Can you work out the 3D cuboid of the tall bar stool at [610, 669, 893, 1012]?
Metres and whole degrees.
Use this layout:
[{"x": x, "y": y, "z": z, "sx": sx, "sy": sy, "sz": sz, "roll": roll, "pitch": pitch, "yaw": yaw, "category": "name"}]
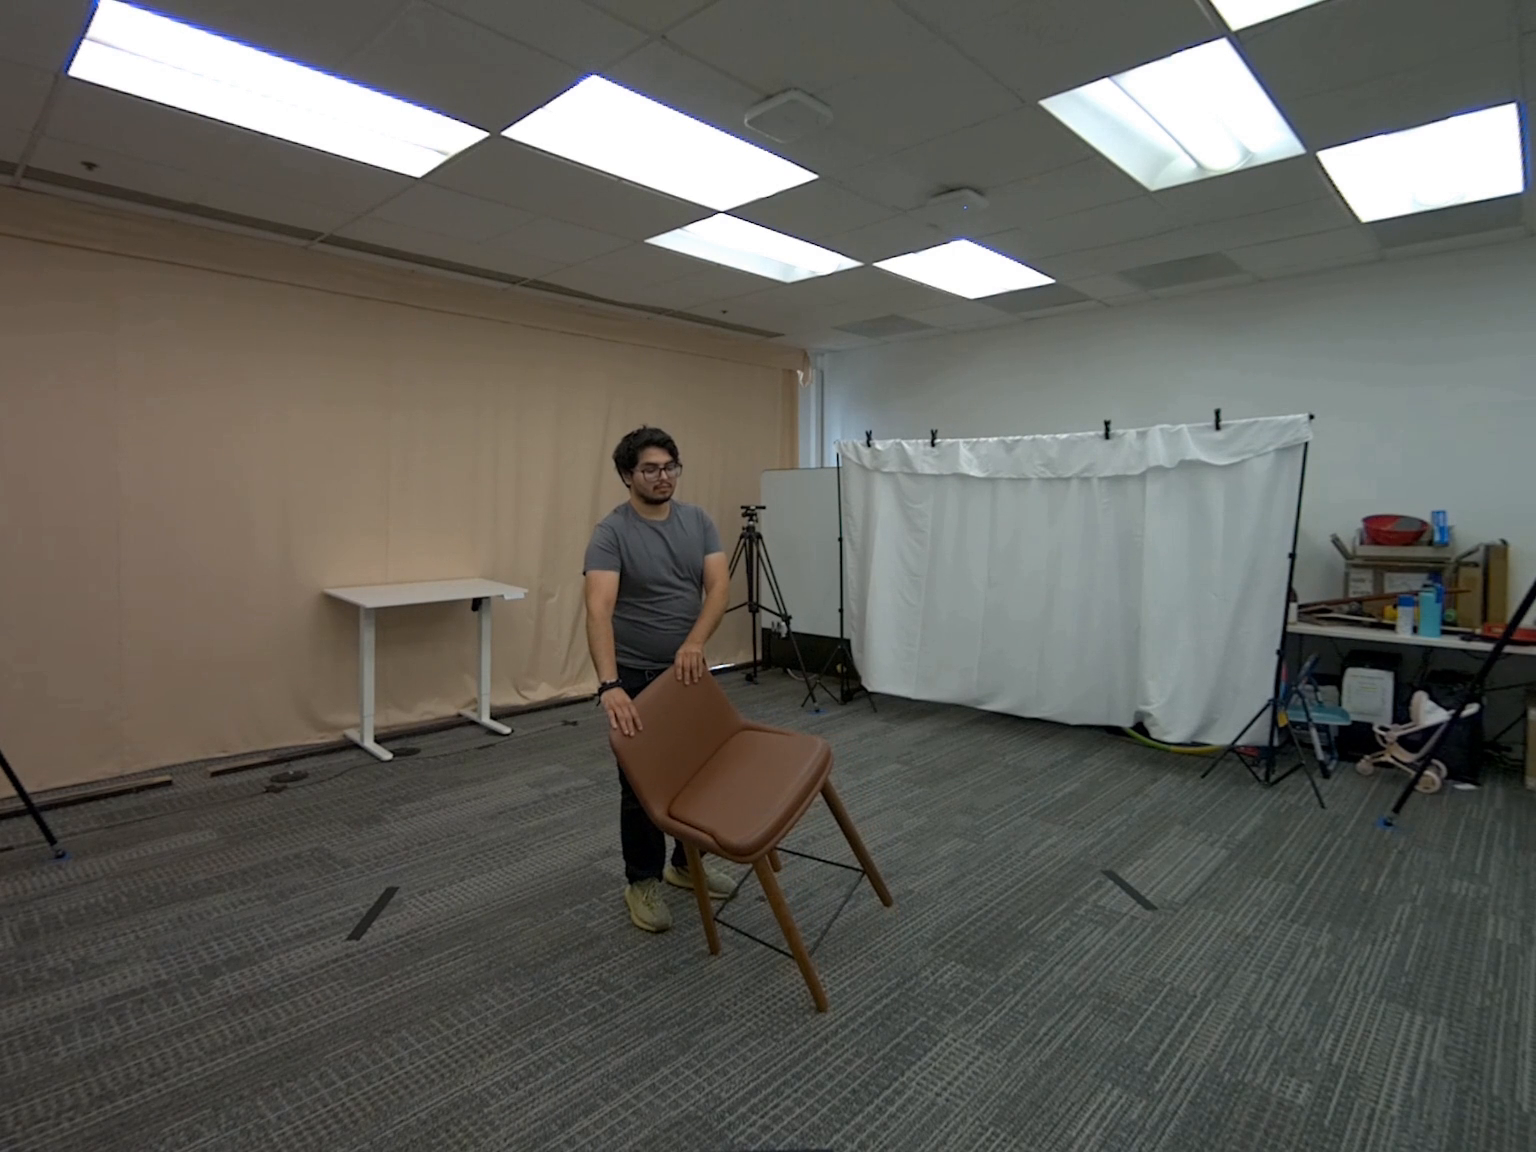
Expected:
[{"x": -0.039, "y": 0.714, "z": 2.439, "sx": 0.482, "sy": 0.873, "sz": 0.450, "roll": -1, "pitch": 28, "yaw": 43, "category": "tall bar stool"}]
